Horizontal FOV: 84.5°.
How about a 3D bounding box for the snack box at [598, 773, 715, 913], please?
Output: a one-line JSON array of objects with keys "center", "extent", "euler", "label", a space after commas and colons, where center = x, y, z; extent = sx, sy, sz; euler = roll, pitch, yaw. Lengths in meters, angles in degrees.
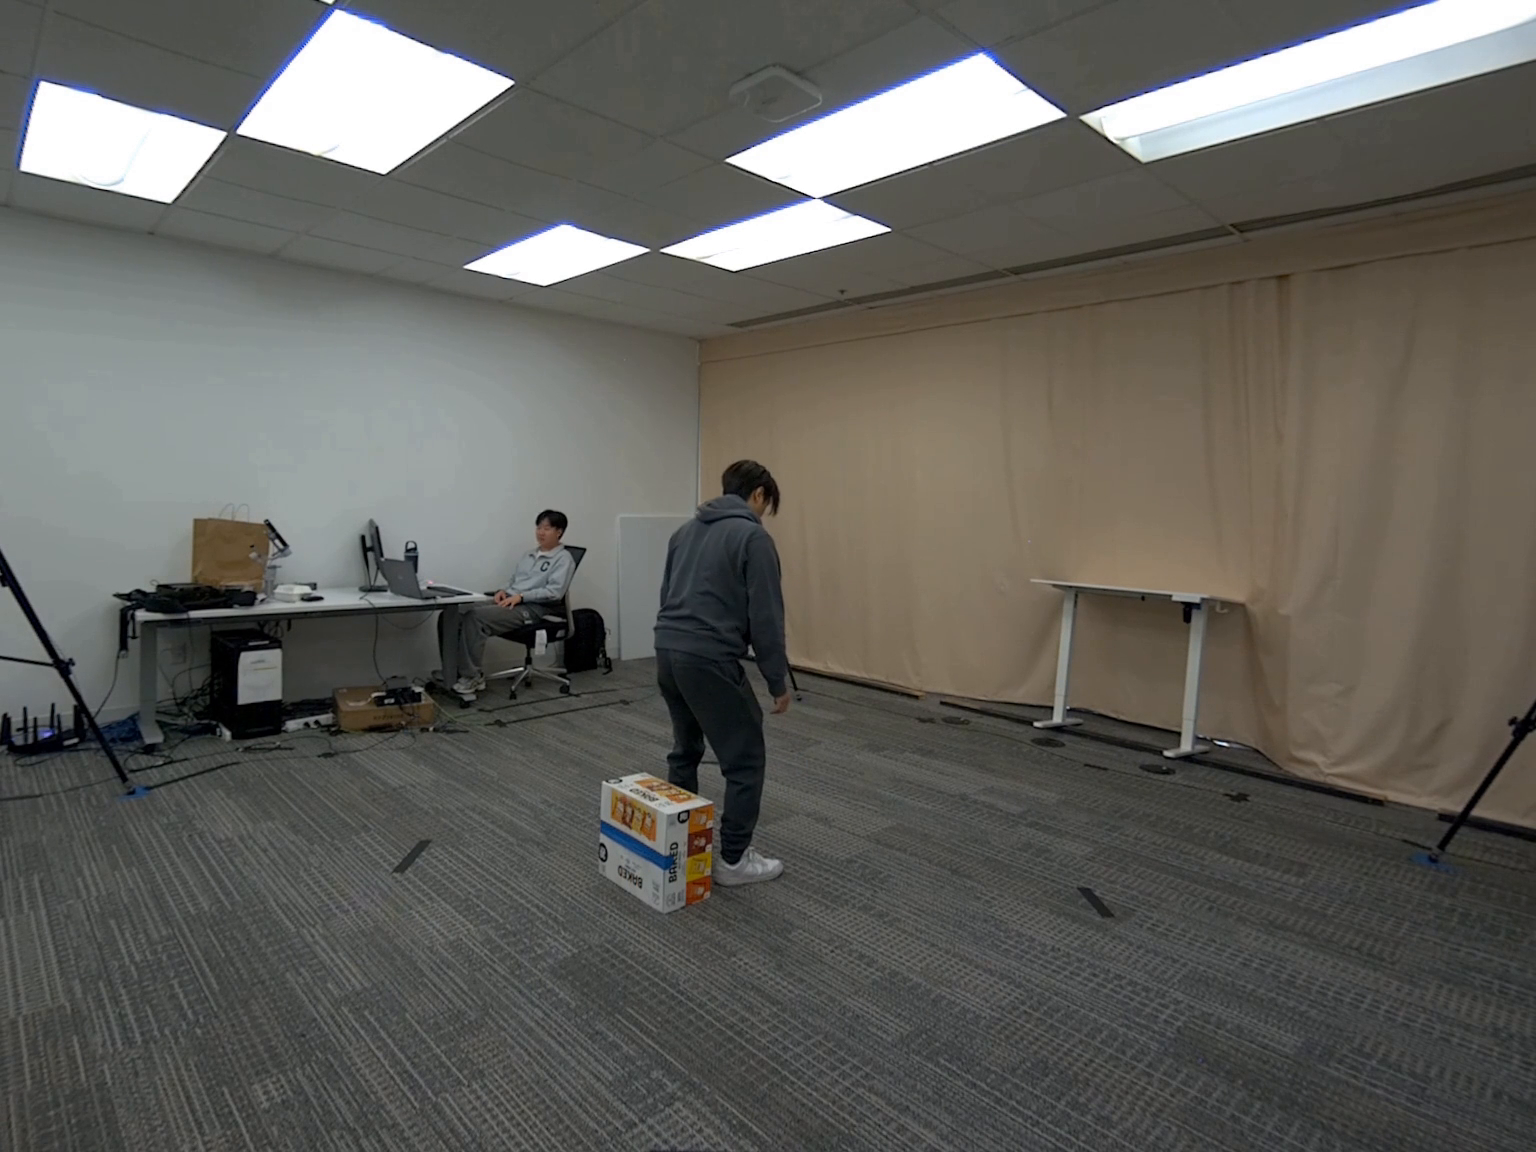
[{"center": [-0.412, 0.940, 3.009], "extent": [0.201, 0.340, 0.415], "euler": [0, 4, -43], "label": "snack box"}]
